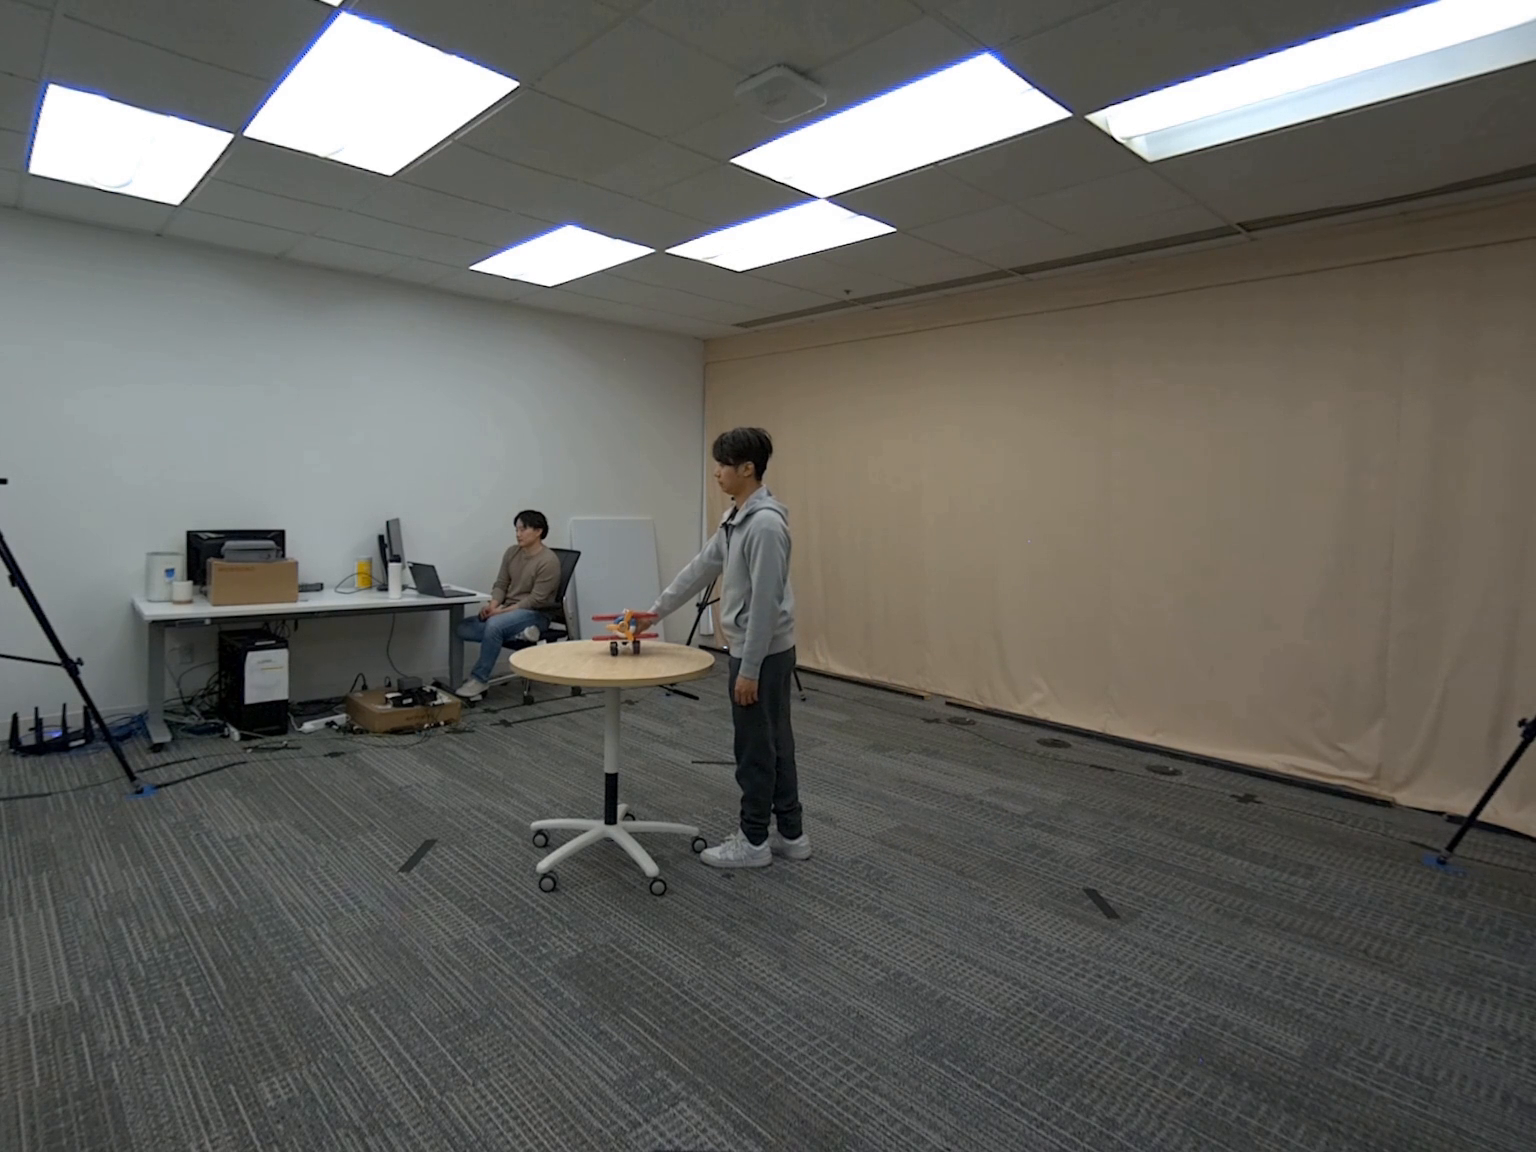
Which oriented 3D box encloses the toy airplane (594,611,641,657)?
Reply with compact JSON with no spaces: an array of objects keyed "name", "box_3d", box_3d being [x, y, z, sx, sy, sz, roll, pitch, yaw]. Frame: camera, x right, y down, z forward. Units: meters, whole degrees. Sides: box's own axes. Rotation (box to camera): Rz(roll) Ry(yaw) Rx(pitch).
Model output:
[{"name":"toy airplane","box_3d":[-0.578,0.209,3.298,0.246,0.155,0.265,-6,9,-29]}]
